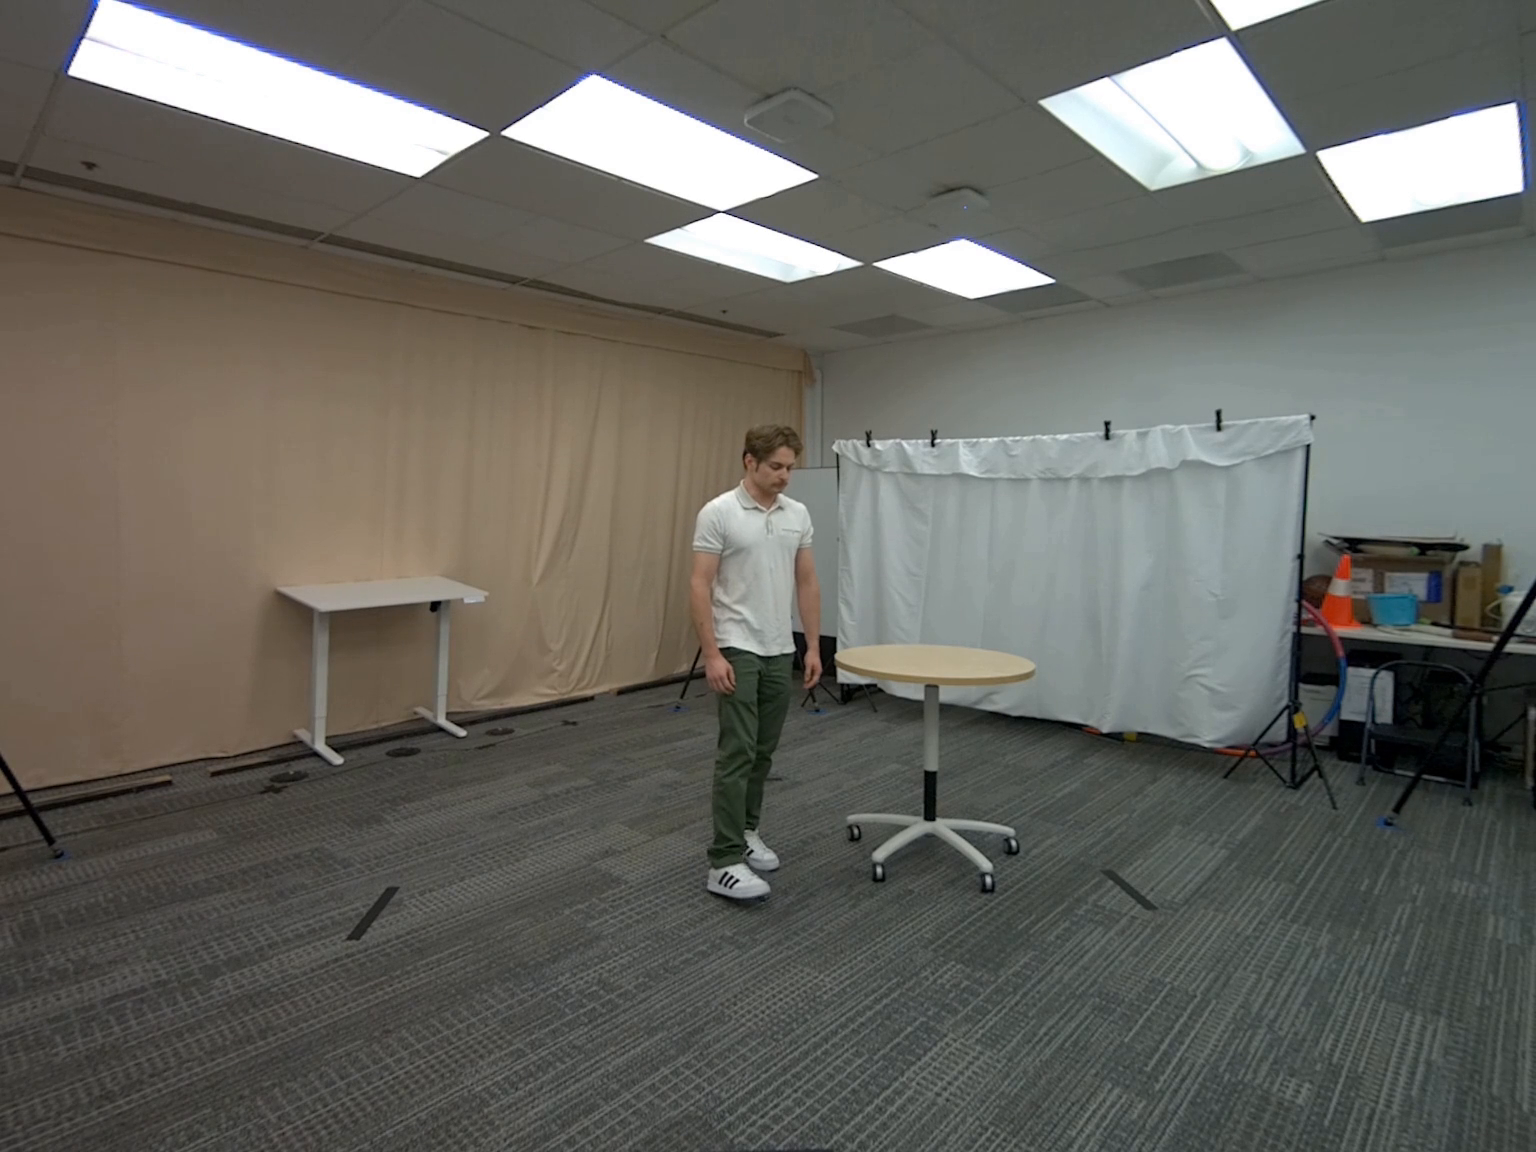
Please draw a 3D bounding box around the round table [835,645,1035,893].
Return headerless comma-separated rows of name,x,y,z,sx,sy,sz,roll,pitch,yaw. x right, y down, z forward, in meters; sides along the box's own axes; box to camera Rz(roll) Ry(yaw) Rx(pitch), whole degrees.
round table,0.651,0.725,3.344,0.763,0.793,0.766,1,3,-2
